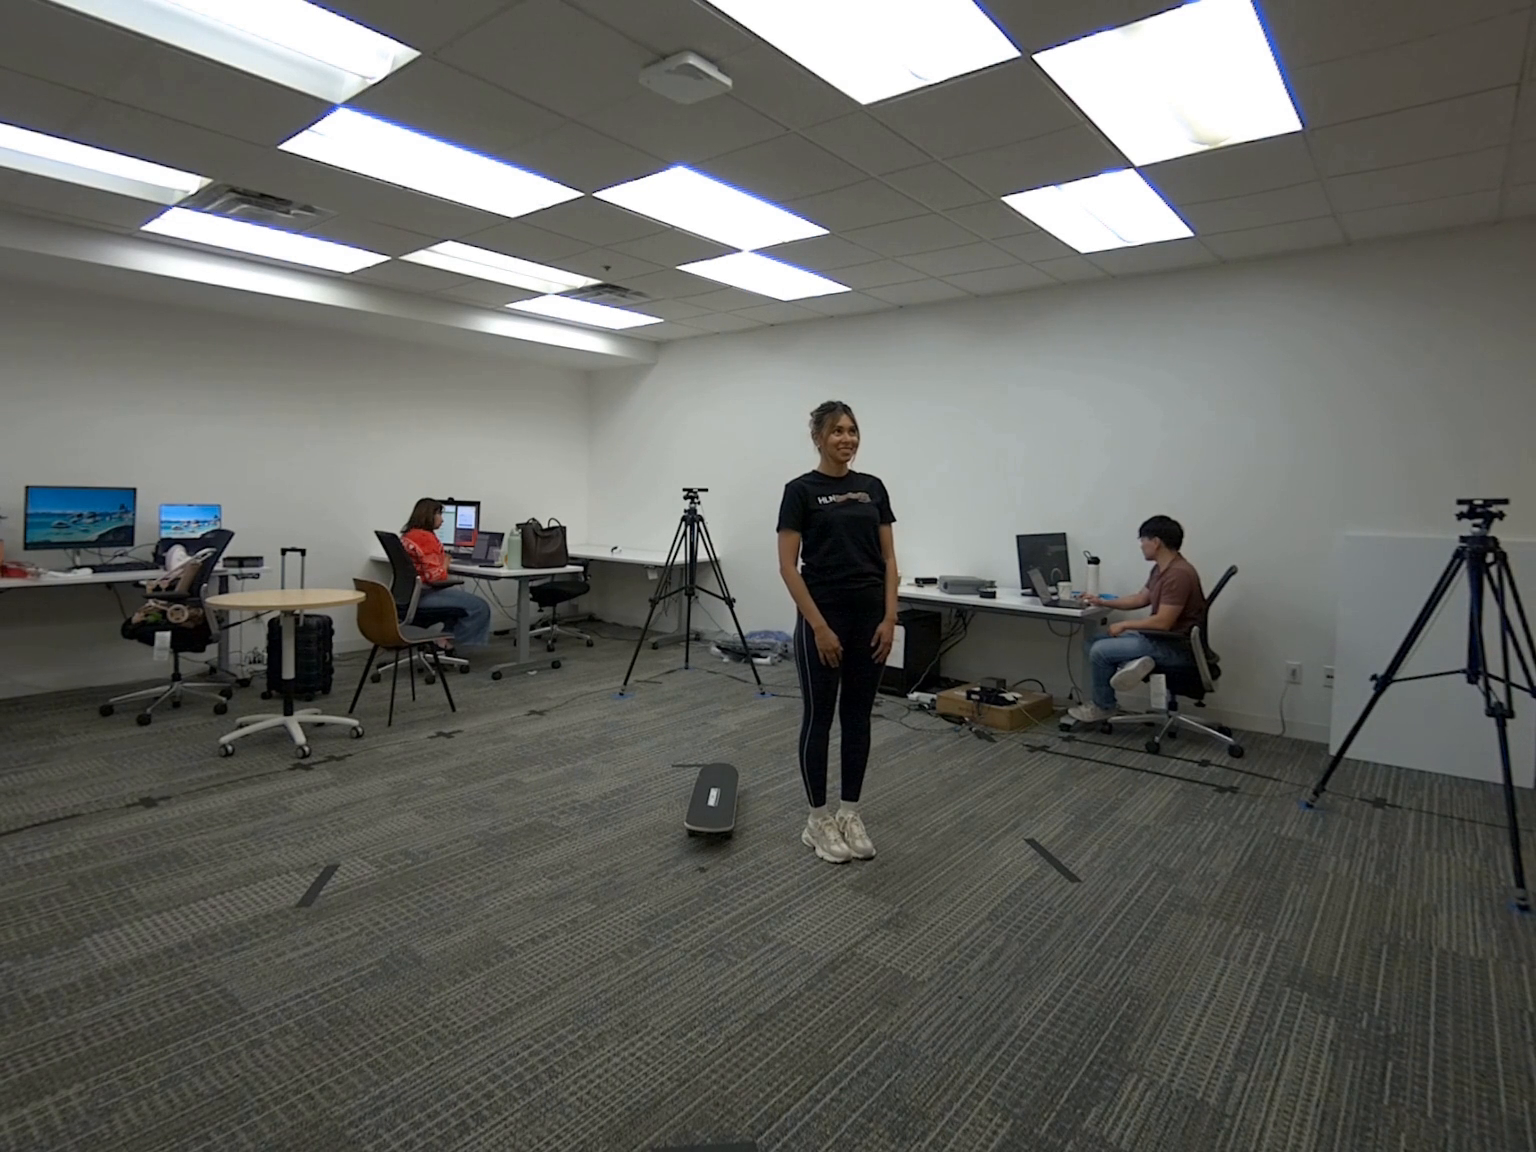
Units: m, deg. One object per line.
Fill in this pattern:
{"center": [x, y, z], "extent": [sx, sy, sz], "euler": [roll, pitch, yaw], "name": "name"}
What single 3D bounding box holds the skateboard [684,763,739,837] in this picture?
{"center": [-0.238, 0.963, 3.606], "extent": [0.194, 0.110, 0.787], "euler": [1, 6, 0], "name": "skateboard"}
